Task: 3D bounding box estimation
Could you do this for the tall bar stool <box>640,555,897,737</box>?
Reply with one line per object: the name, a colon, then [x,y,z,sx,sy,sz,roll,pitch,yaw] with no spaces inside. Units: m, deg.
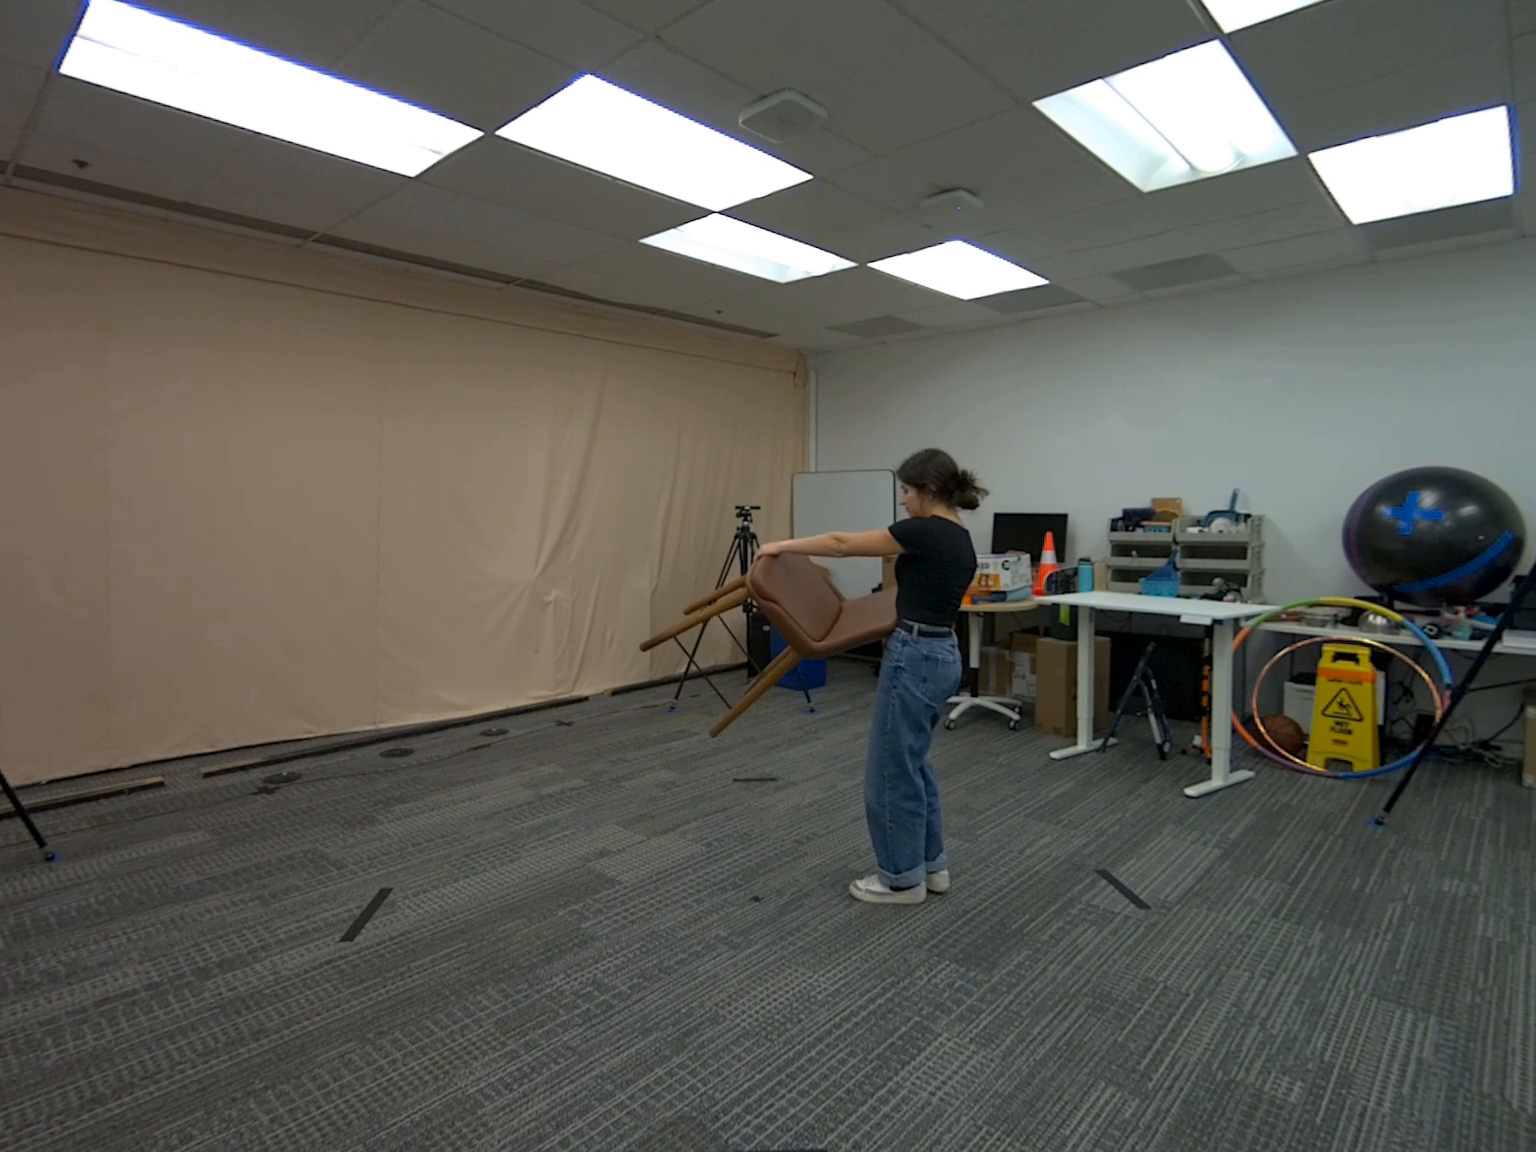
tall bar stool: [0.035,0.169,3.160,0.902,0.467,0.450,-34,2,30]
